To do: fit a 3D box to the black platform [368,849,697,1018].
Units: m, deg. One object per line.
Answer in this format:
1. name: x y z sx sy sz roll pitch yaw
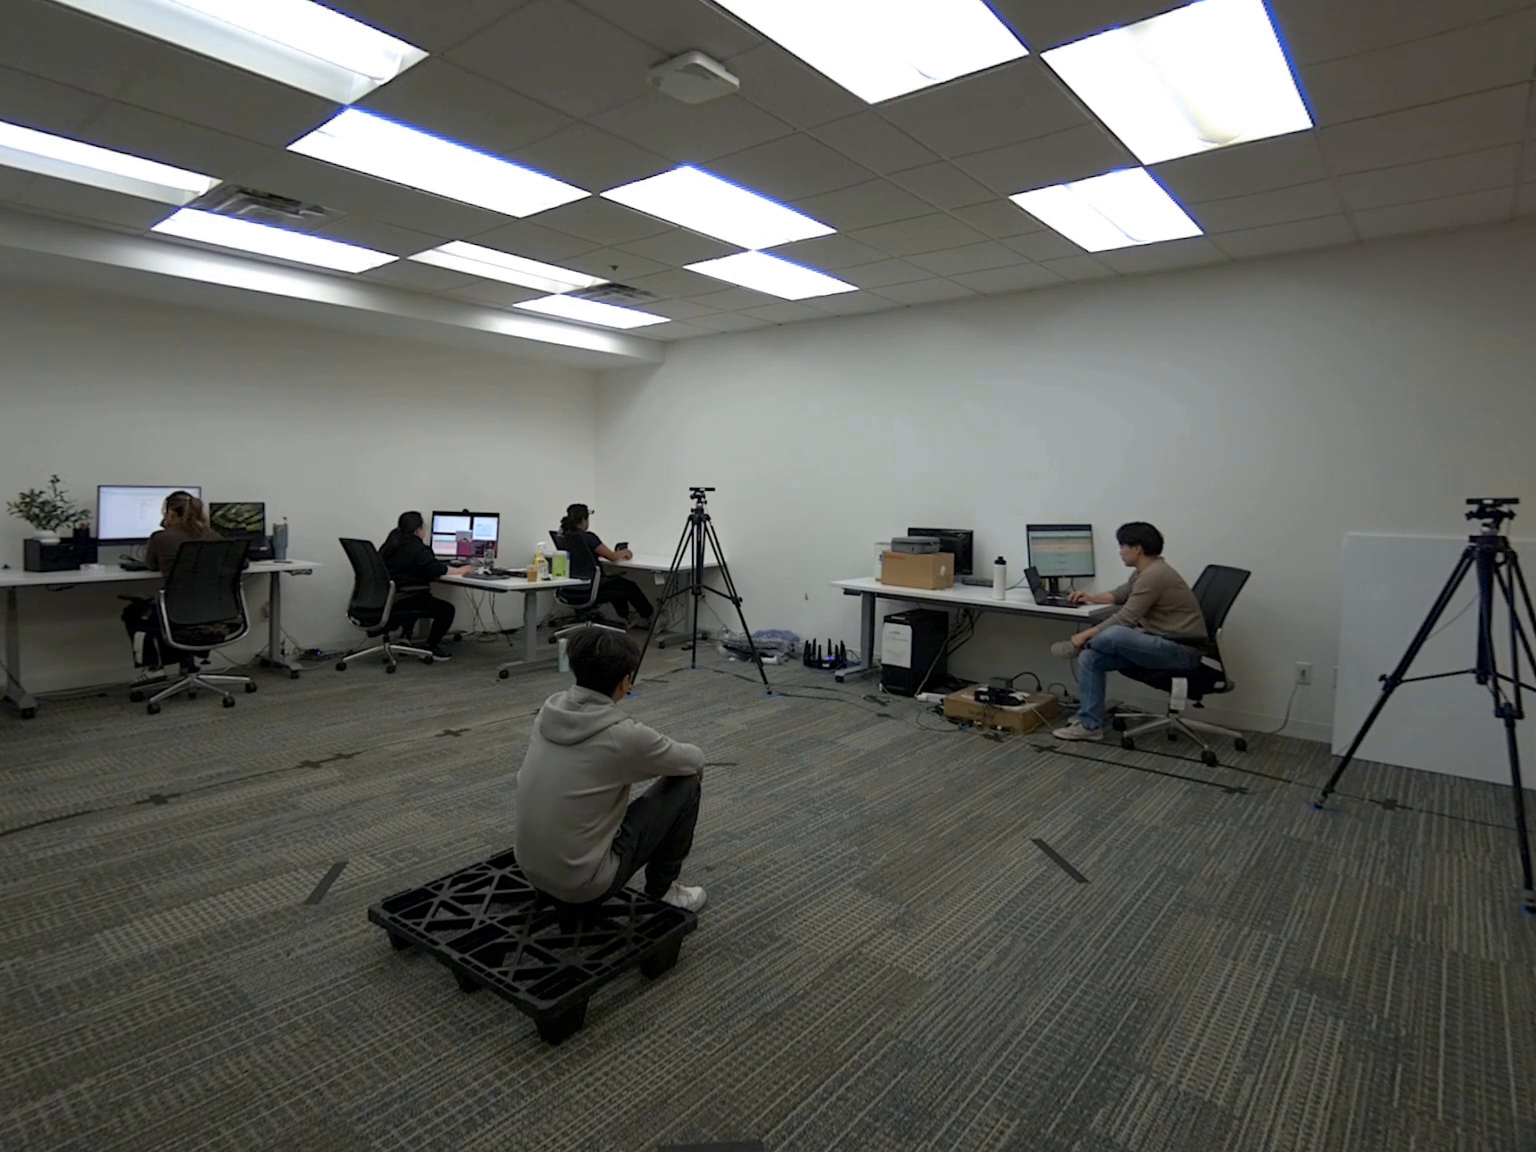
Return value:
1. black platform: -0.705 1.050 2.520 0.832 0.143 0.588 5 6 36
